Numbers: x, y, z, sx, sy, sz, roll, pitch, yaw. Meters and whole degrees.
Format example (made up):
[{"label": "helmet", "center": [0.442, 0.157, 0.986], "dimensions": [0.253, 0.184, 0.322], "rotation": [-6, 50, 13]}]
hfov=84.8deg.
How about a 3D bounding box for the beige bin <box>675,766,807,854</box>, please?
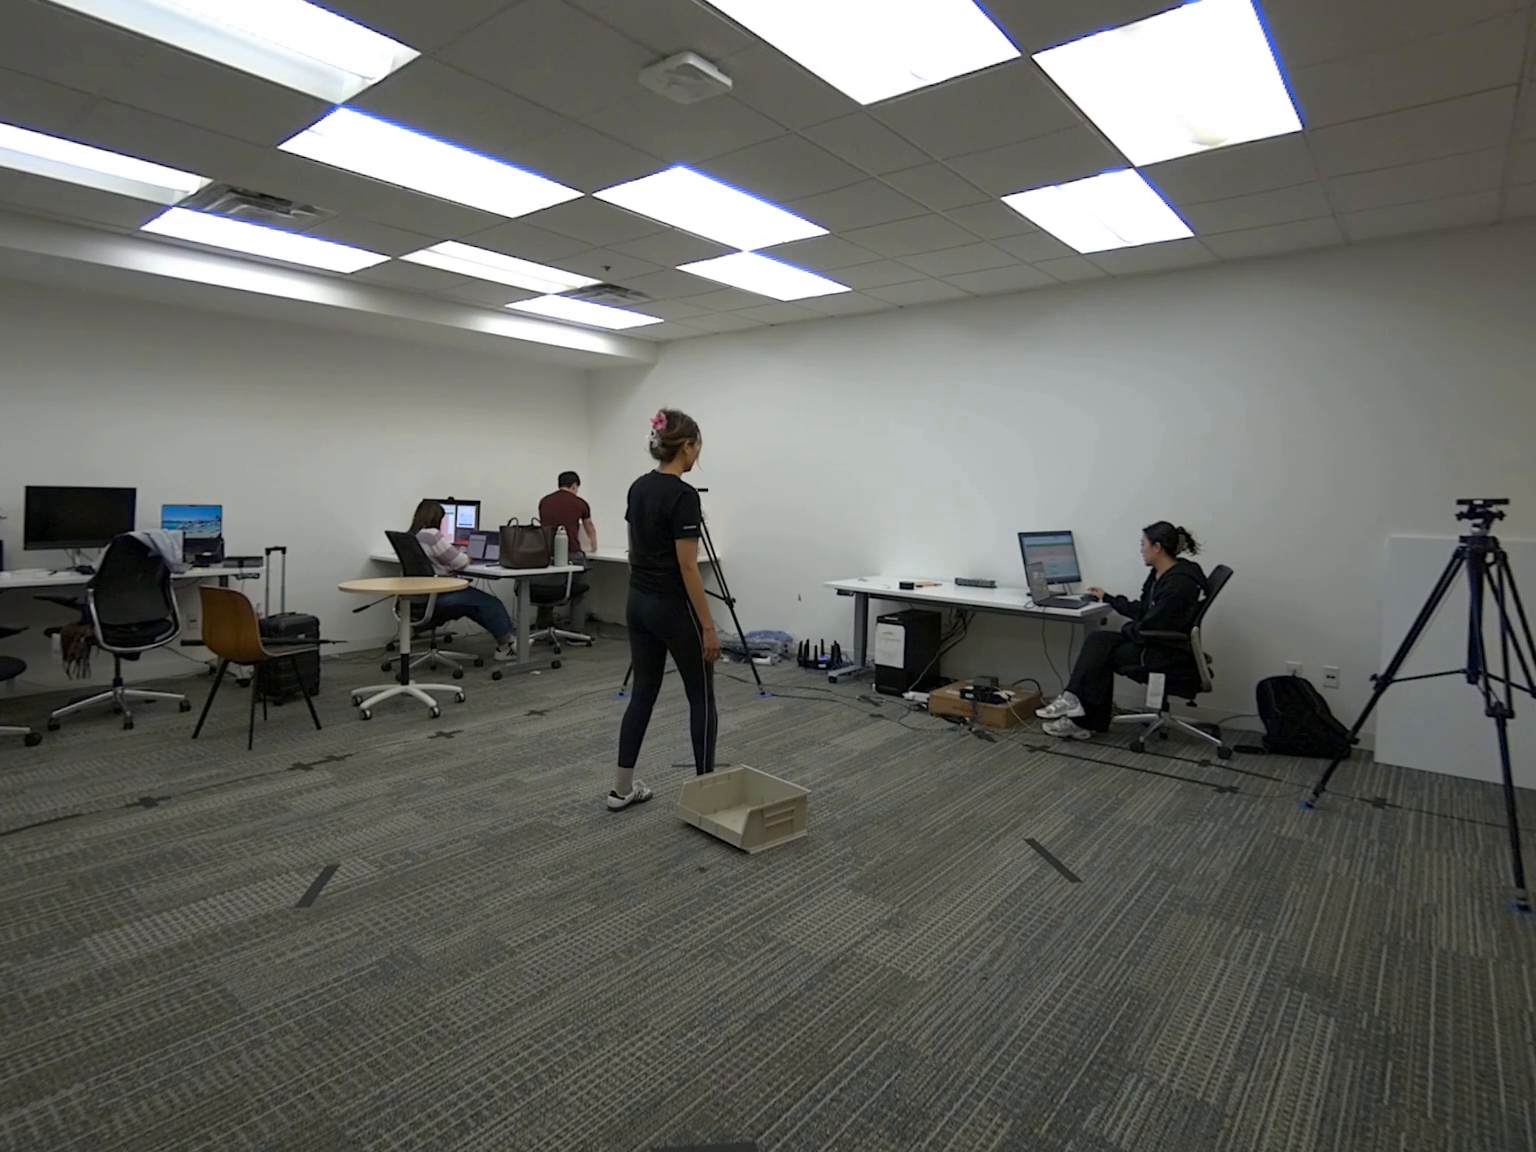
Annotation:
[{"label": "beige bin", "center": [-0.113, 0.947, 3.484], "dimensions": [0.366, 0.188, 0.437], "rotation": [-2, 5, -42]}]
